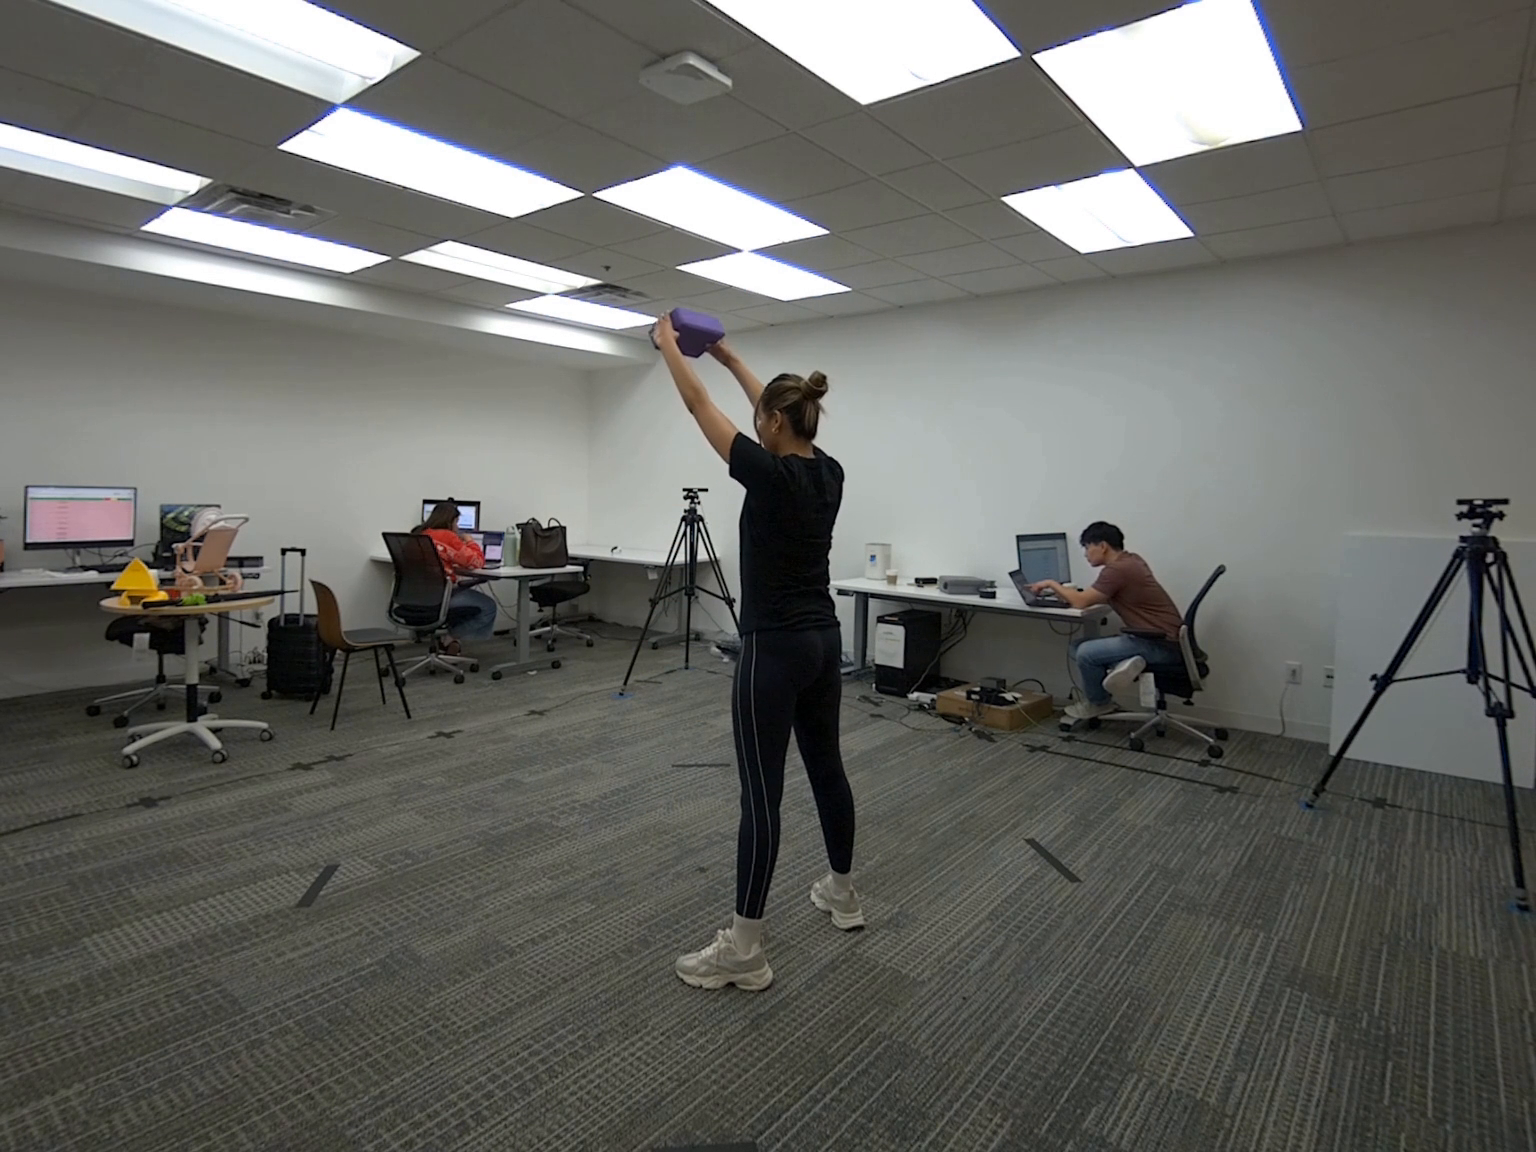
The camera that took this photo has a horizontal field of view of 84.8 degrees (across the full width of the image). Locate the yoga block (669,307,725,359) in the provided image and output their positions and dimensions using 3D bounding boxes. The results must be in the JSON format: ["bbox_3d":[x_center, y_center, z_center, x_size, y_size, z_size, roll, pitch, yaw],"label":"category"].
[{"bbox_3d":[-0.278,-0.807,2.816,0.150,0.078,0.223,-31,-14,35],"label":"yoga block"}]
